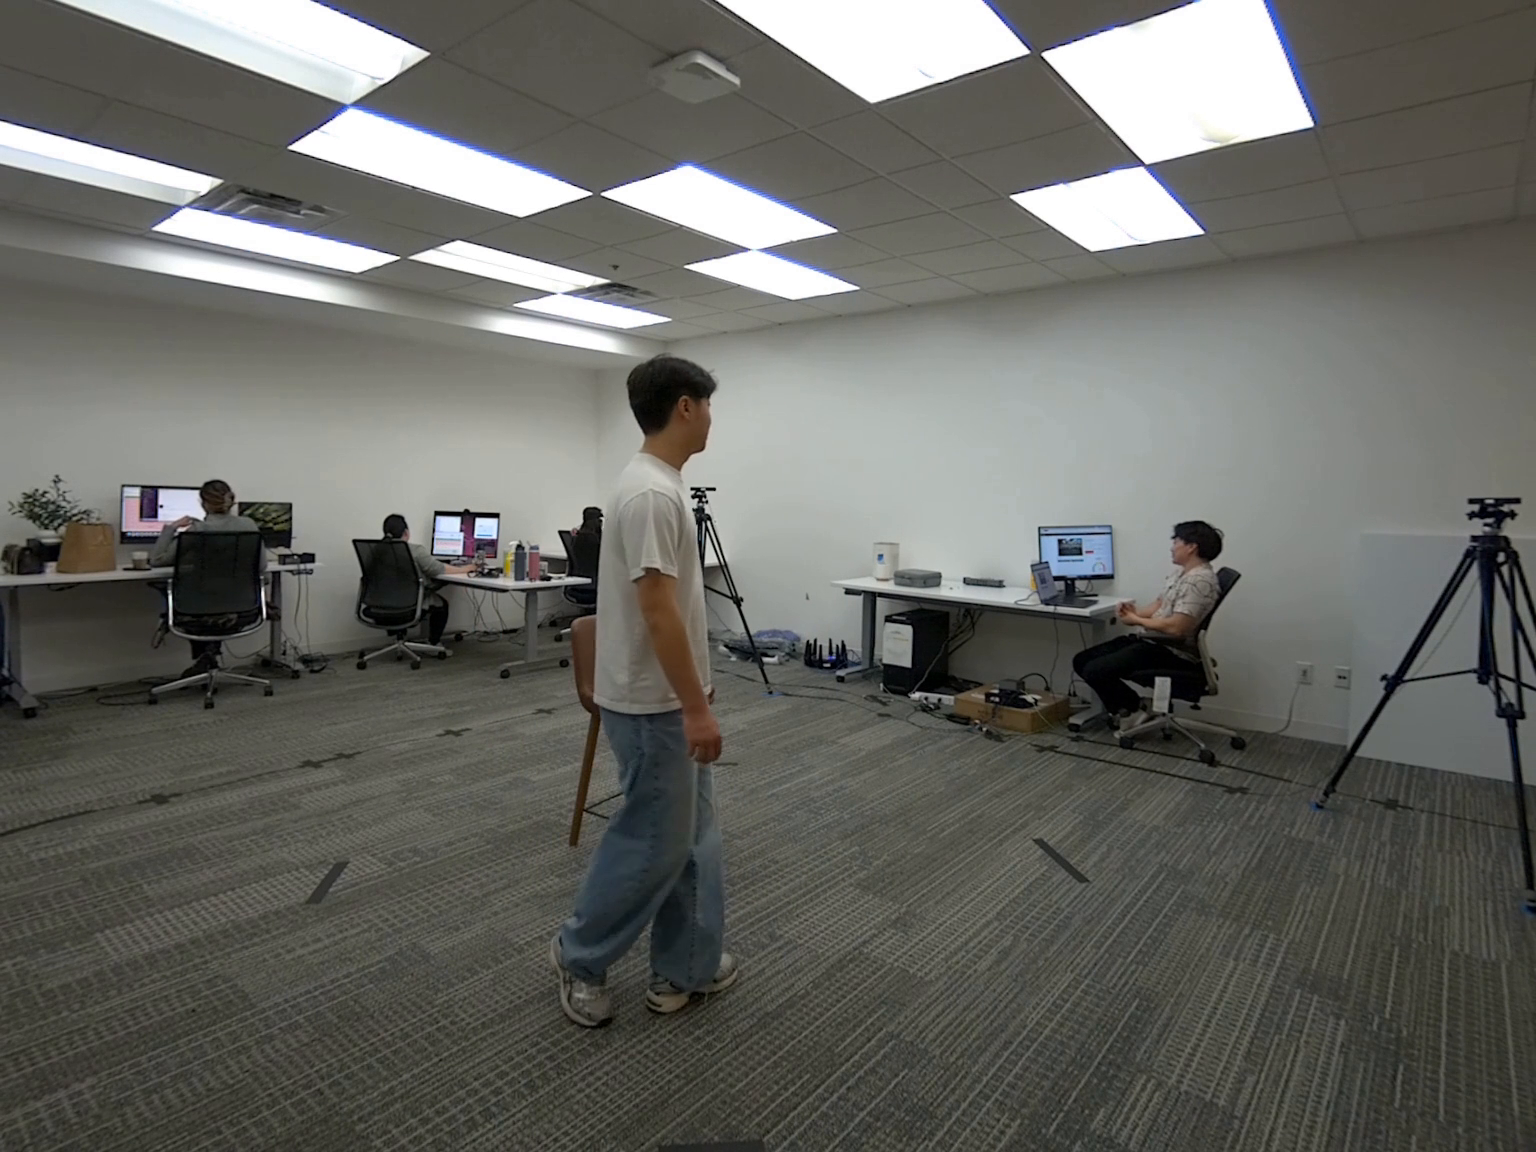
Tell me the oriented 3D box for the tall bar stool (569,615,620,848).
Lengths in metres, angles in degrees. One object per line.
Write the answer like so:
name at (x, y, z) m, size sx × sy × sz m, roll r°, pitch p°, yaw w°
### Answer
tall bar stool at (-0.488, 0.605, 3.305) m, size 0.481 × 0.888 × 0.444 m, roll 1°, pitch 2°, yaw 32°
